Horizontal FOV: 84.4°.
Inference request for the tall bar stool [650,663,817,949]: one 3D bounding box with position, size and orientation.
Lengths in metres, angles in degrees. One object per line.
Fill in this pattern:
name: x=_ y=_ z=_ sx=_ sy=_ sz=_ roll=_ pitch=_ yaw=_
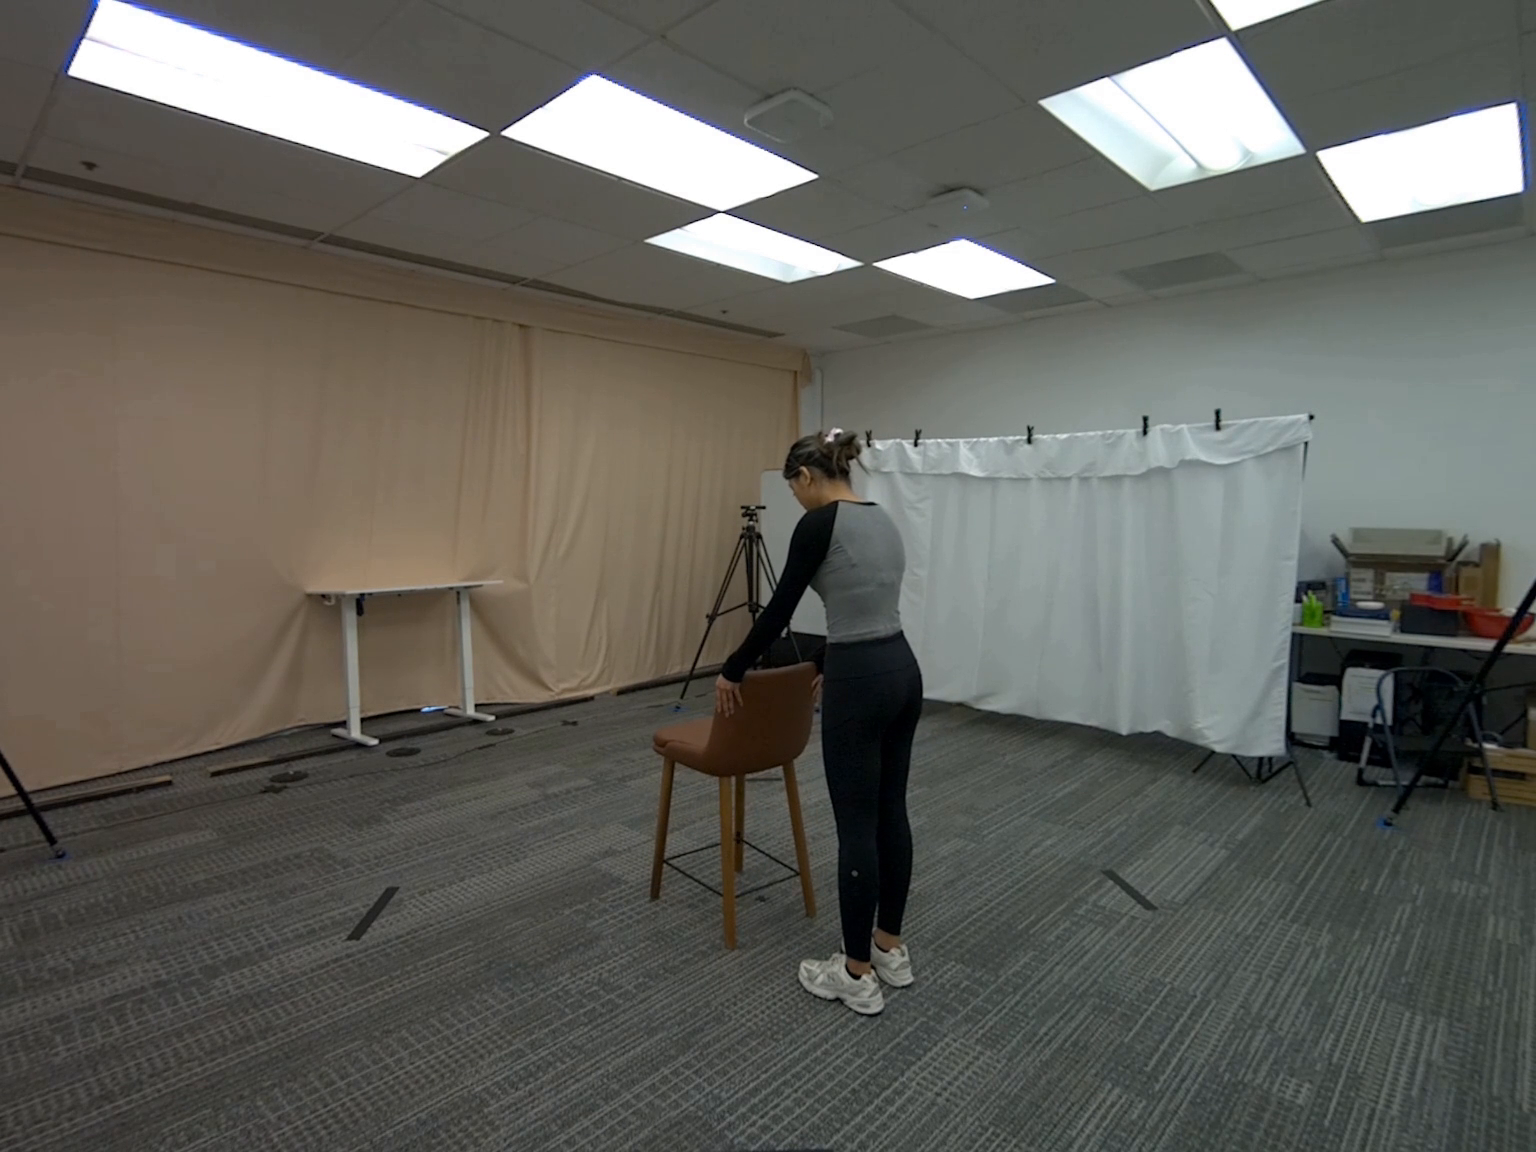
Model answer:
tall bar stool: x=-0.115 y=0.714 z=2.894 sx=0.443 sy=0.887 sz=0.483 roll=-2 pitch=7 yaw=-39
